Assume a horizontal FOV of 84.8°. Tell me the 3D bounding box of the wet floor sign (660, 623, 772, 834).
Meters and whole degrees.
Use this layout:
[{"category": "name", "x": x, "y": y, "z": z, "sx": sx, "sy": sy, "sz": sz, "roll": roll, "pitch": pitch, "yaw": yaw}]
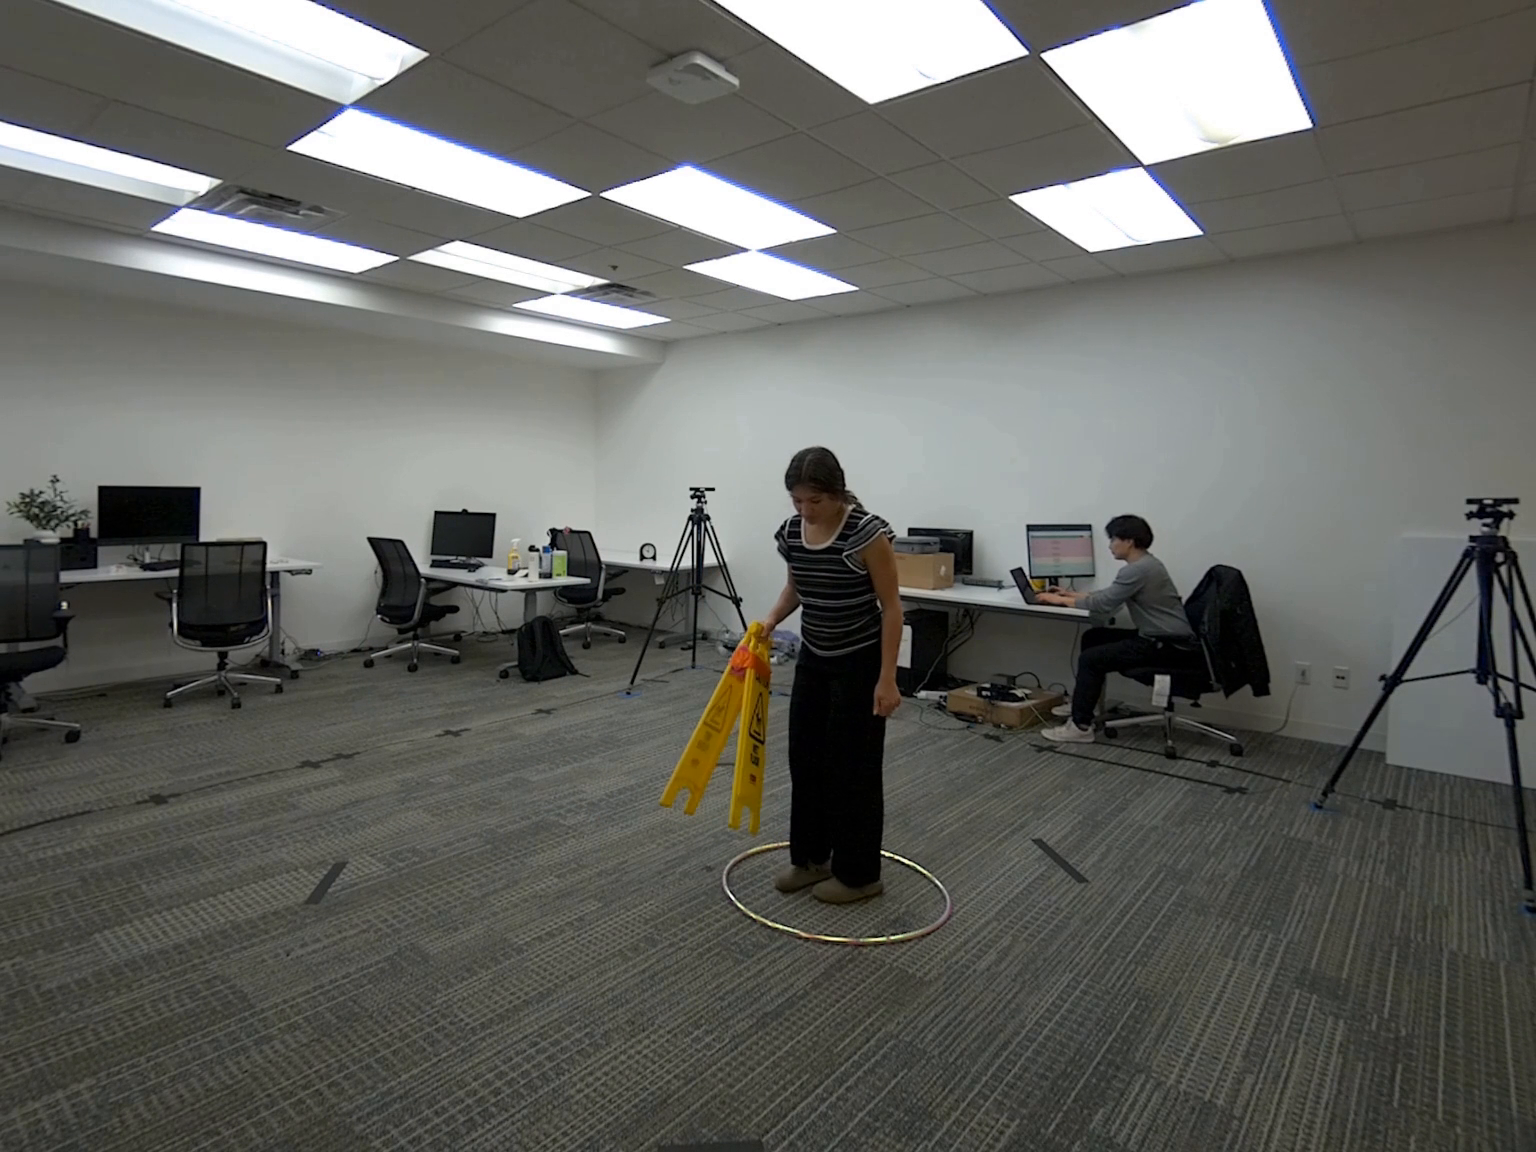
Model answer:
[{"category": "wet floor sign", "x": -0.100, "y": 0.480, "z": 2.805, "sx": 0.297, "sy": 0.653, "sz": 0.272, "roll": 9, "pitch": -18, "yaw": 21}]
